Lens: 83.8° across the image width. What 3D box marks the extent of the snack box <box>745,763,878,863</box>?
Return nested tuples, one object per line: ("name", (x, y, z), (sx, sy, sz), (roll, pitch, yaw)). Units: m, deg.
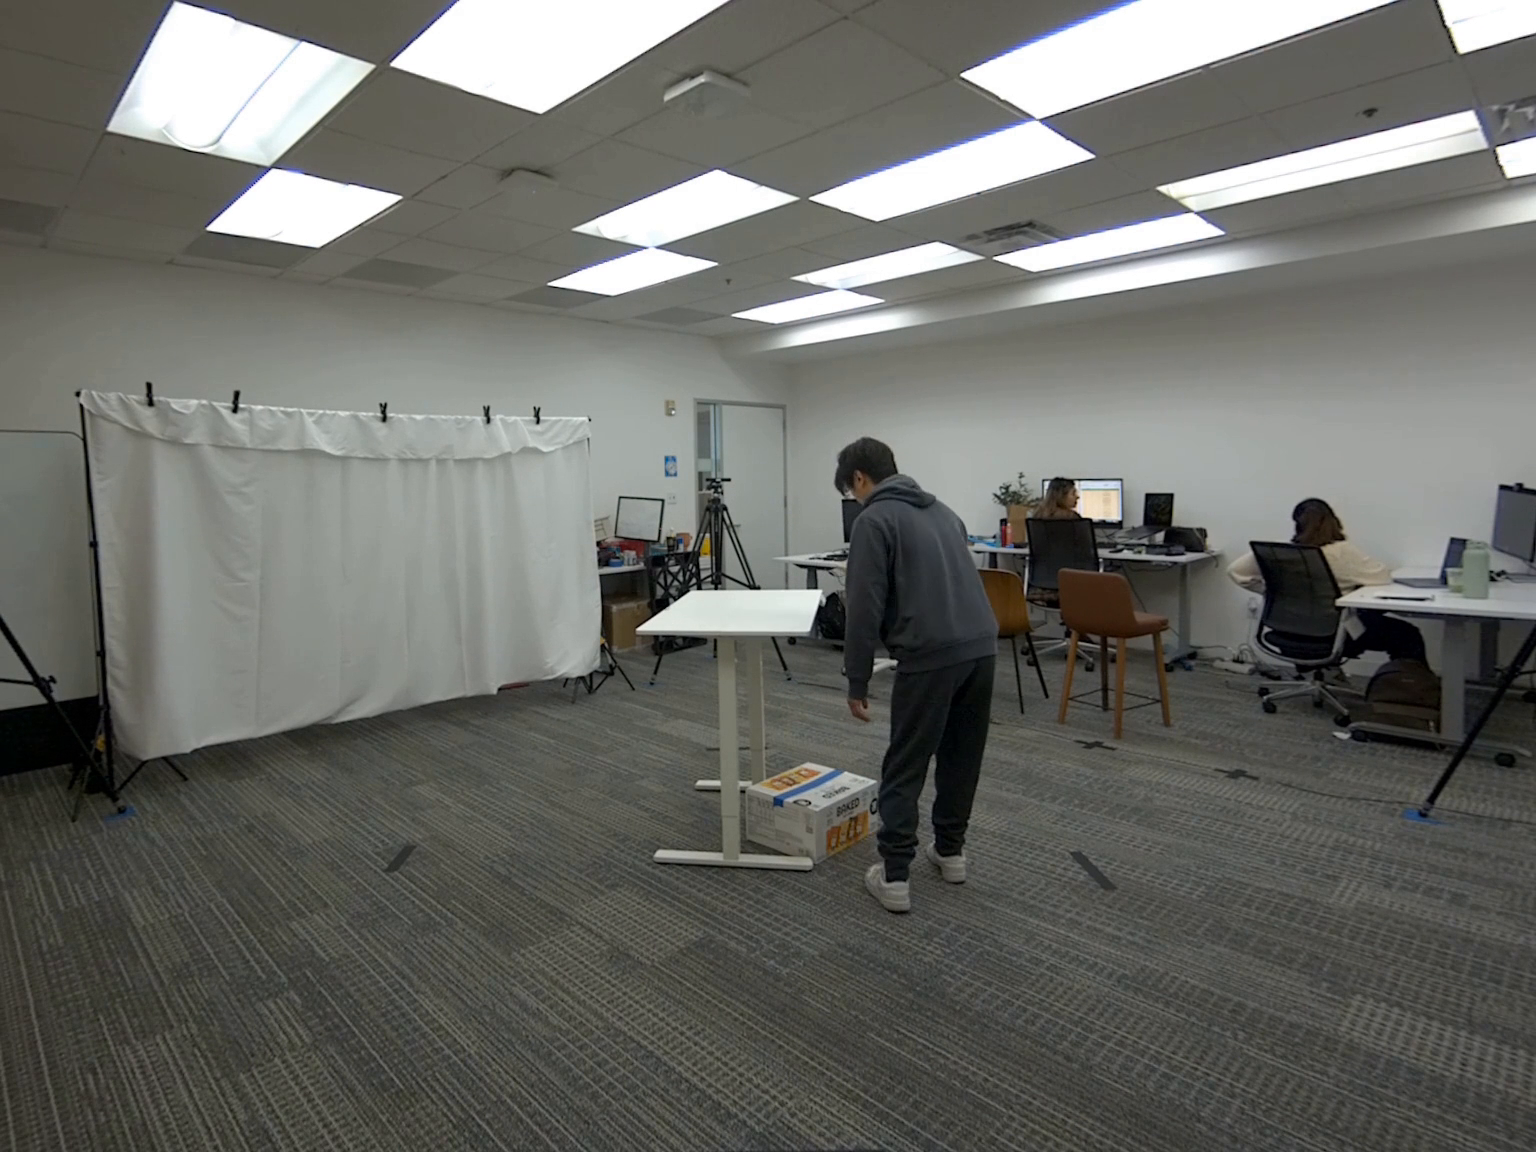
("snack box", (0.176, 0.913, 3.327), (0.351, 0.205, 0.395), (4, 8, 41))
